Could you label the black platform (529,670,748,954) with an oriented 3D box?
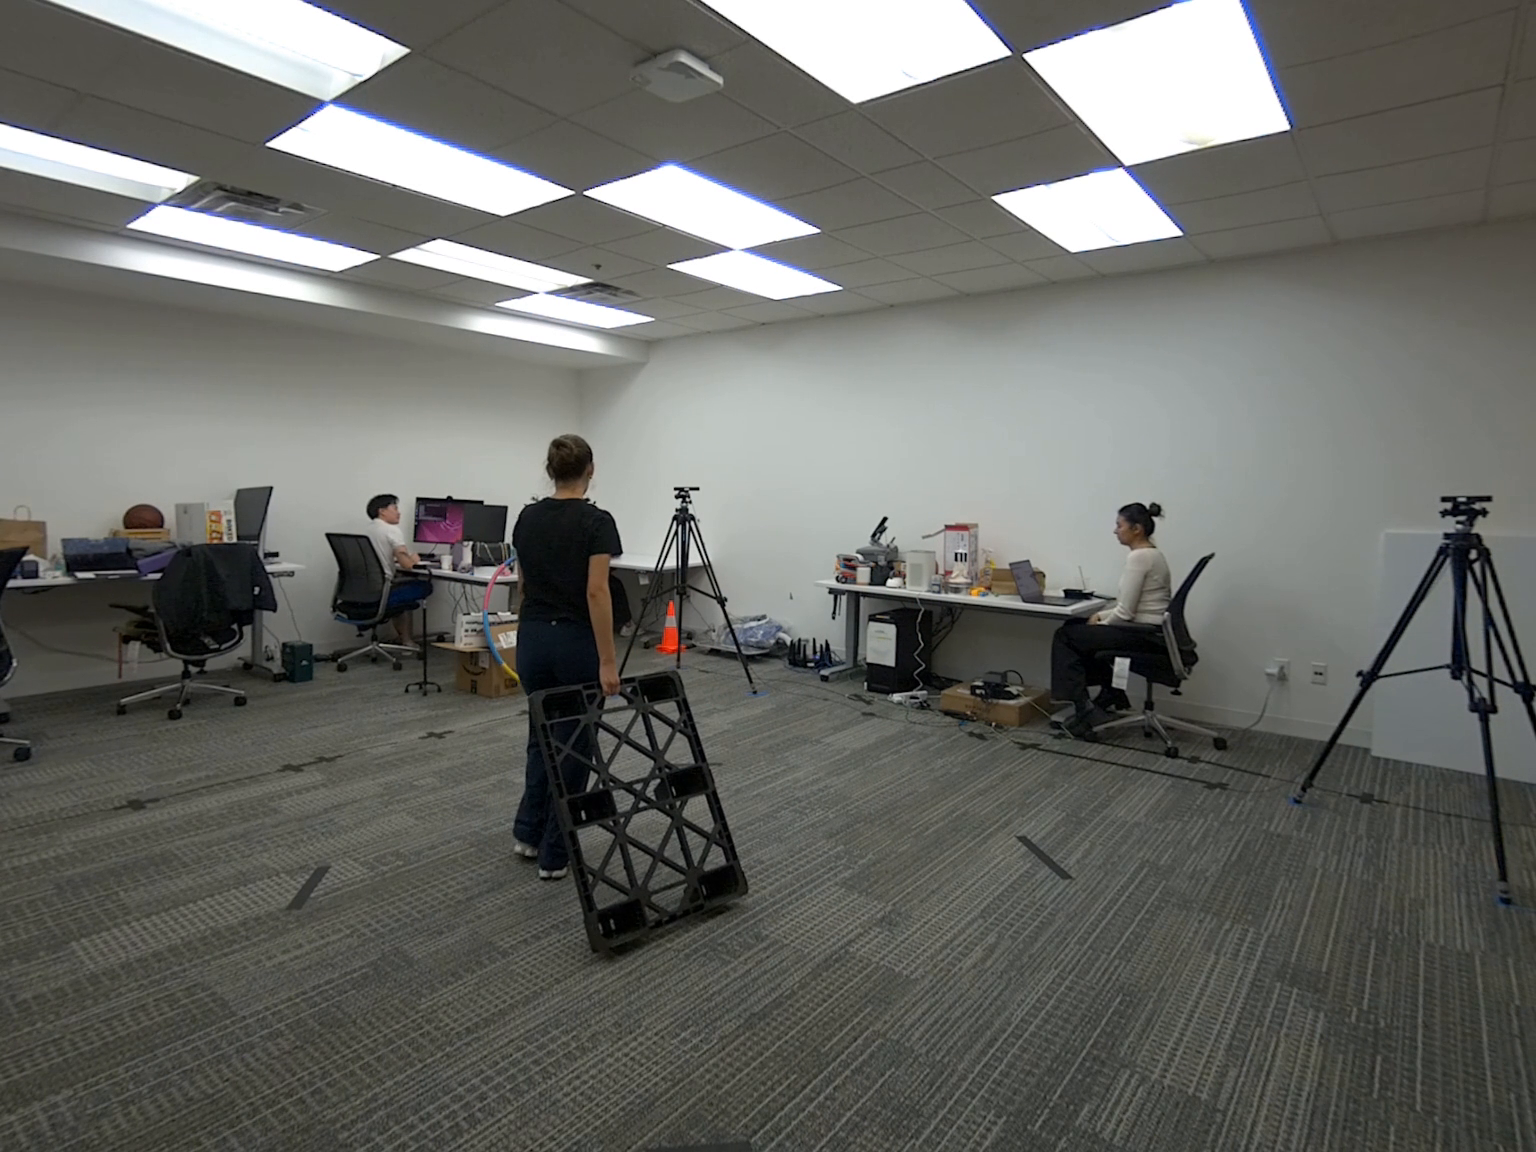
[{"bbox_3d":[-0.435,0.731,2.846,0.587,0.826,0.144,-3,-27,-41],"label":"black platform"}]
